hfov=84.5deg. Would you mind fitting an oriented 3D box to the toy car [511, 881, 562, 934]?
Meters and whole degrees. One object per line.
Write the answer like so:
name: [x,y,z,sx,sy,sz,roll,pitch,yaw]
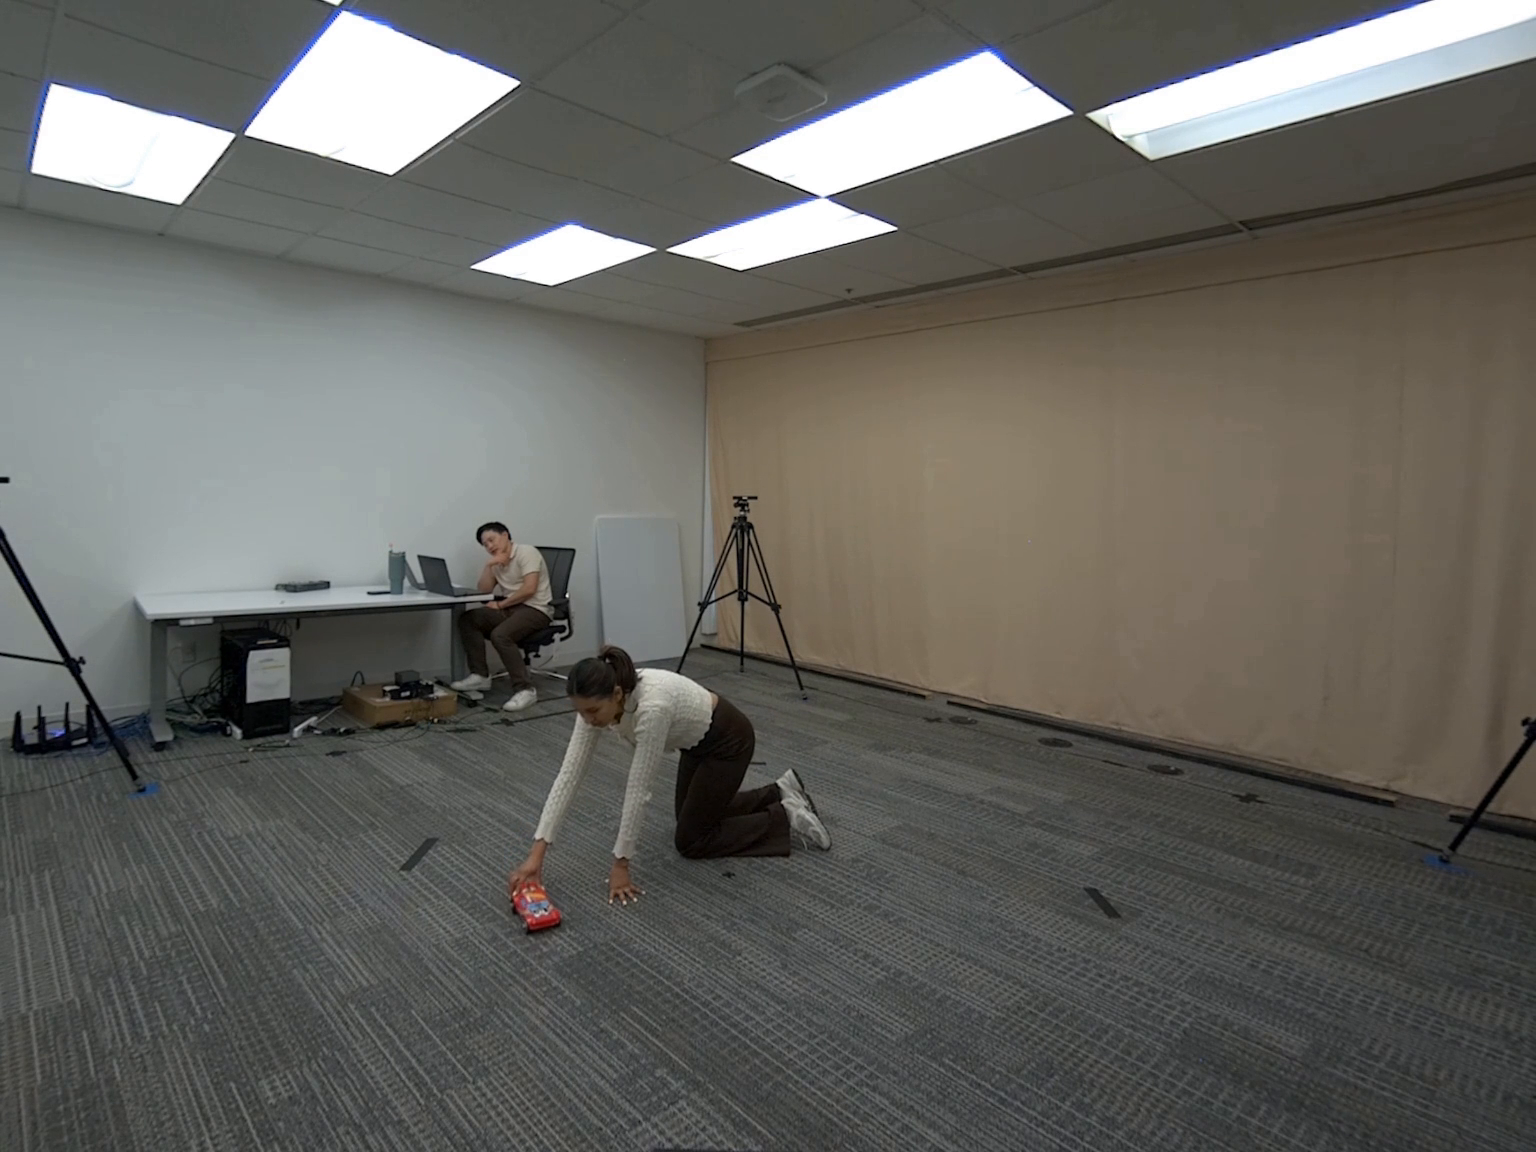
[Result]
toy car: [-0.775,1.090,2.764,0.128,0.082,0.262,-2,16,-30]
